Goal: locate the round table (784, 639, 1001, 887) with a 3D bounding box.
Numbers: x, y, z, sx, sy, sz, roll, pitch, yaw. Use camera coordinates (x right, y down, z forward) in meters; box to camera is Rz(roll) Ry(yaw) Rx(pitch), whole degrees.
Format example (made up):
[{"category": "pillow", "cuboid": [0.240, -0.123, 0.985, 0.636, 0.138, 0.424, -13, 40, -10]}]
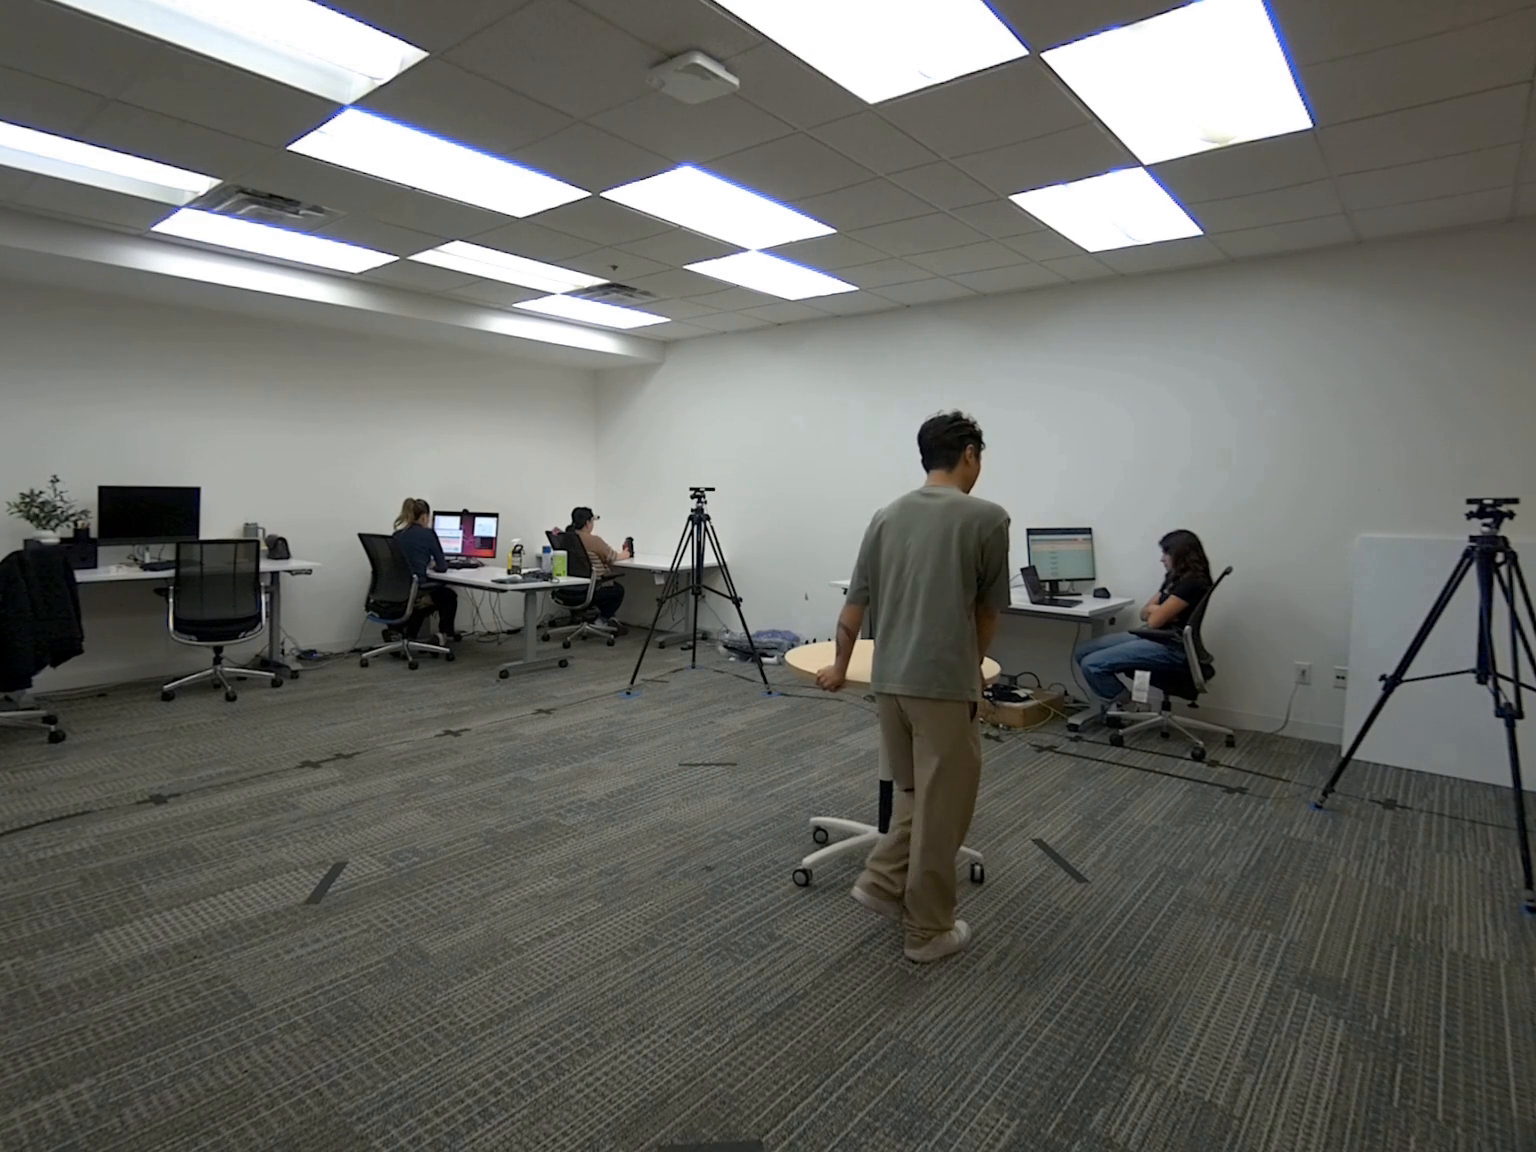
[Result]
[{"category": "round table", "cuboid": [0.434, 0.685, 3.129, 0.784, 0.783, 0.790, 1, 5, -2]}]
